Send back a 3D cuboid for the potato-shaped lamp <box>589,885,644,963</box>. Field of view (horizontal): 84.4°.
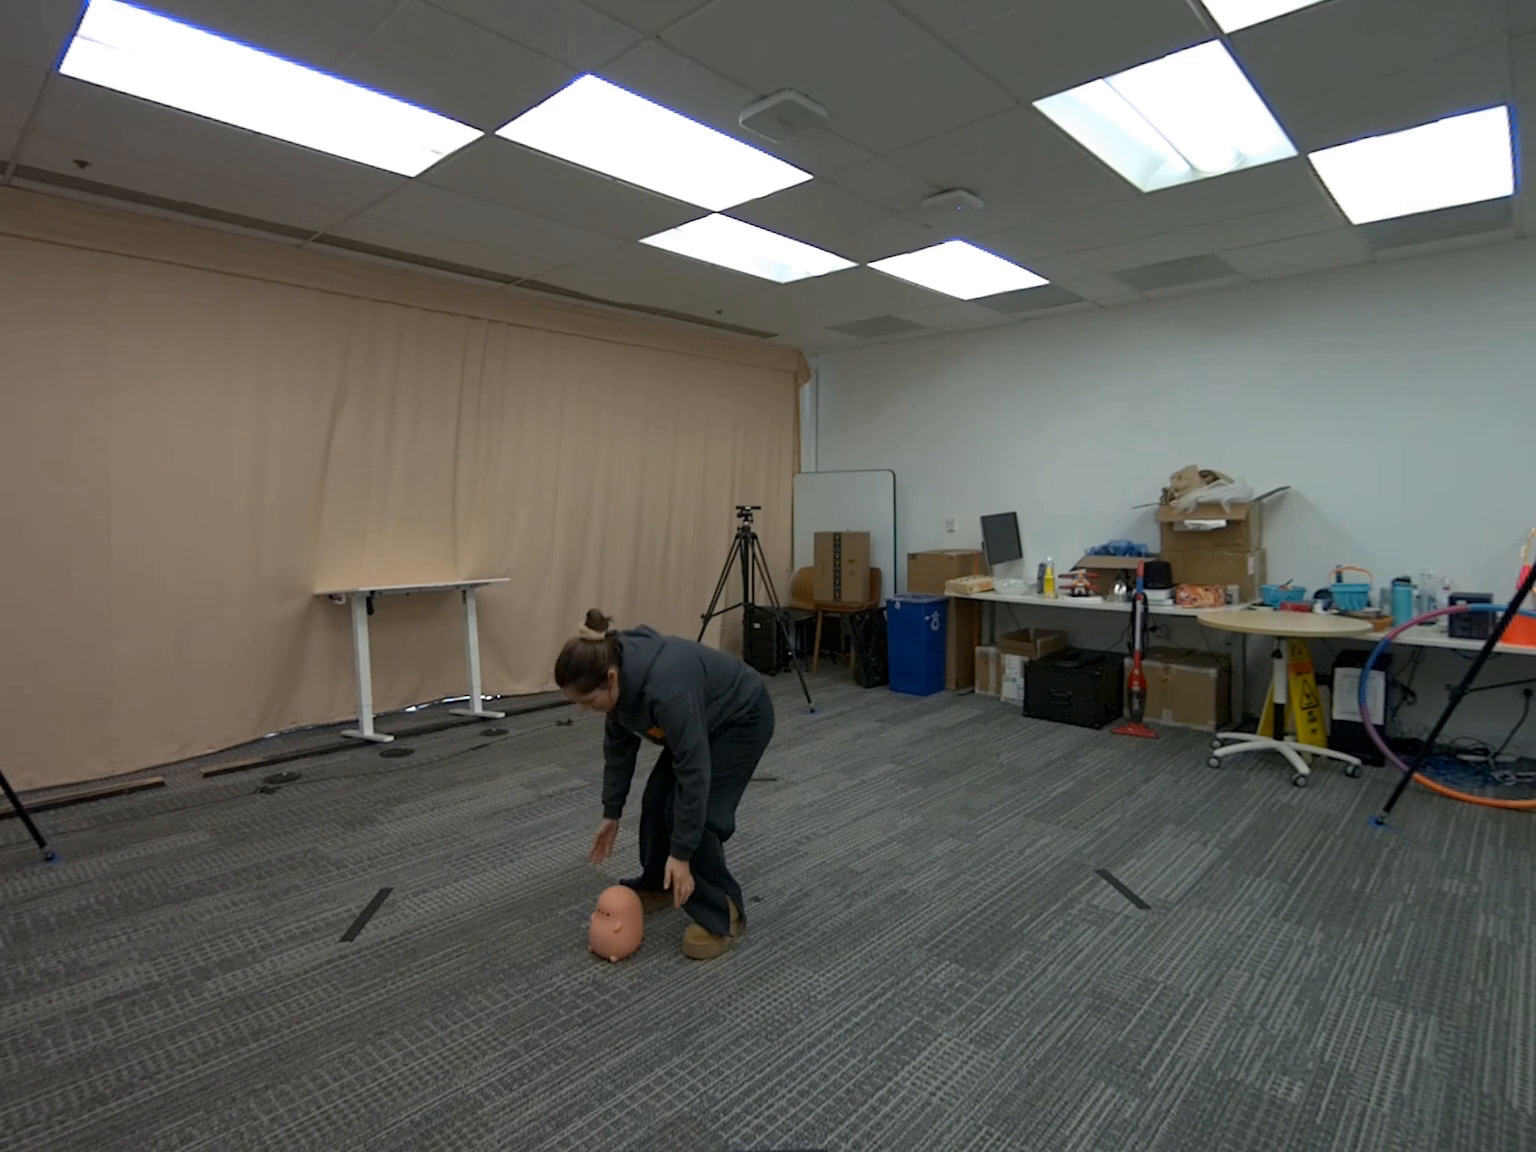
[{"bbox_3d":[-0.456,1.076,2.643,0.170,0.198,0.166,0,1,41],"label":"potato-shaped lamp"}]
